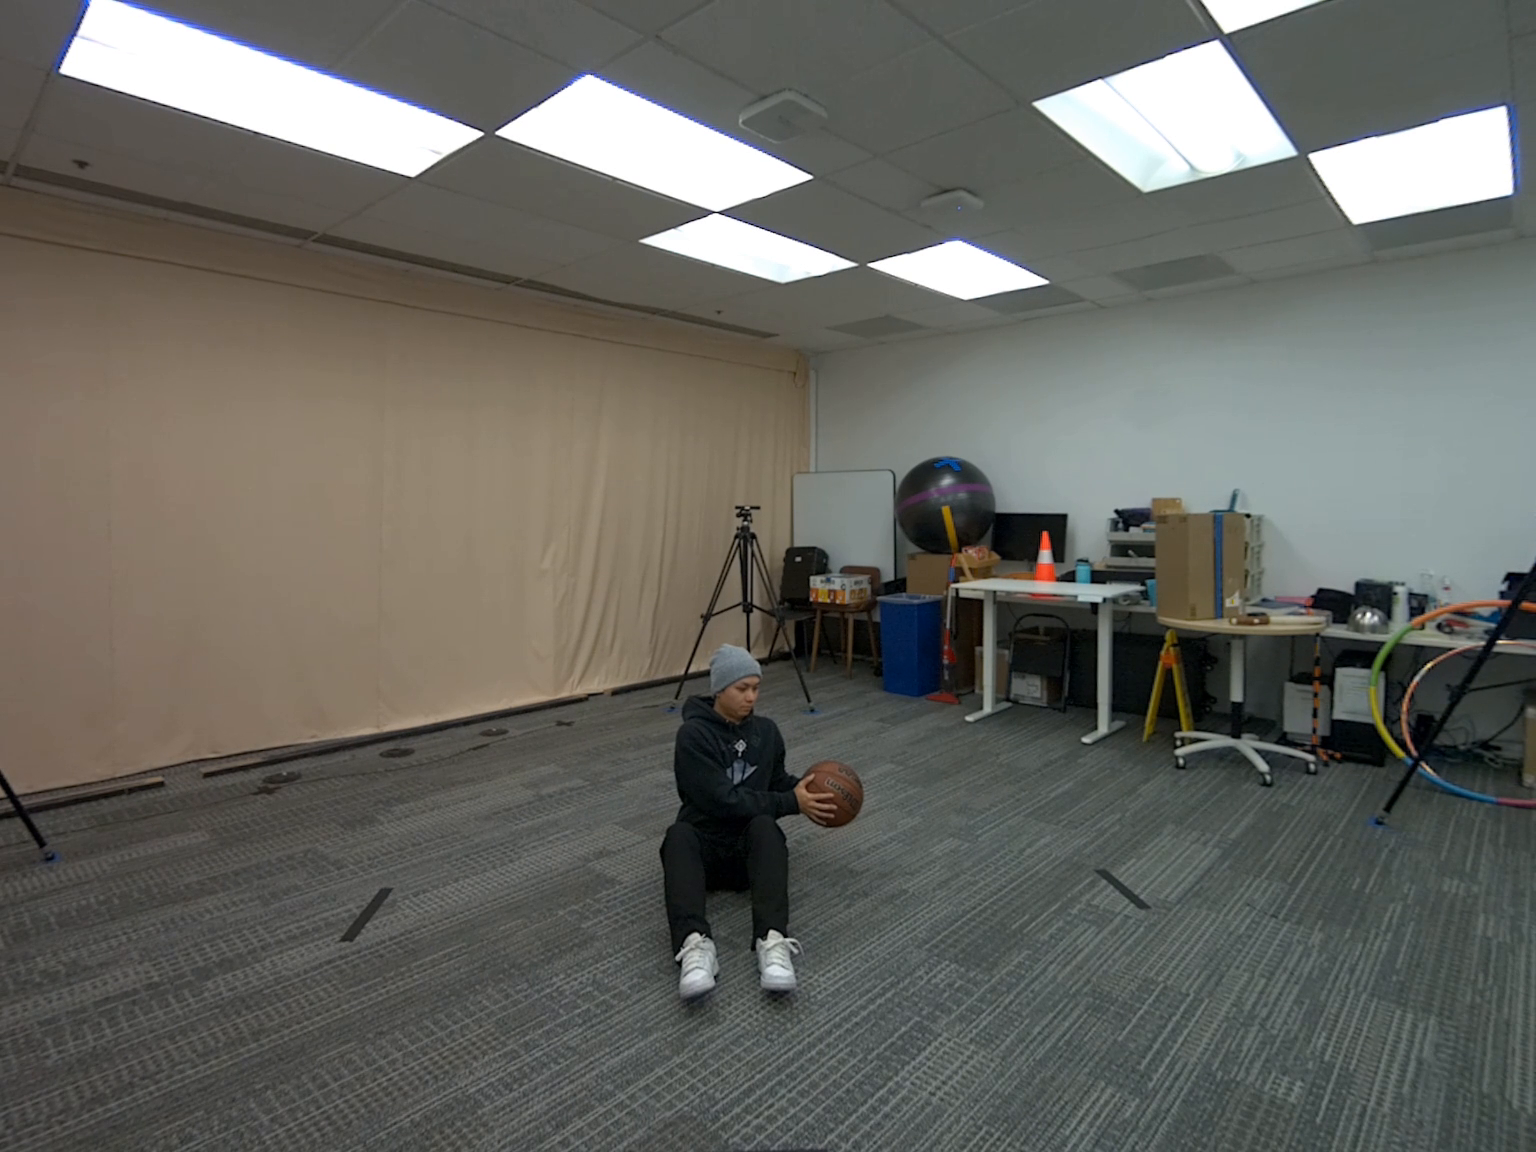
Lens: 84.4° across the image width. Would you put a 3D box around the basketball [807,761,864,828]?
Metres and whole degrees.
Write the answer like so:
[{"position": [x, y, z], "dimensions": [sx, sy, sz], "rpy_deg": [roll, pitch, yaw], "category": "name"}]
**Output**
[{"position": [0.230, 0.796, 3.071], "dimensions": [0.236, 0.235, 0.237], "rpy_deg": [0, 4, -2], "category": "basketball"}]
